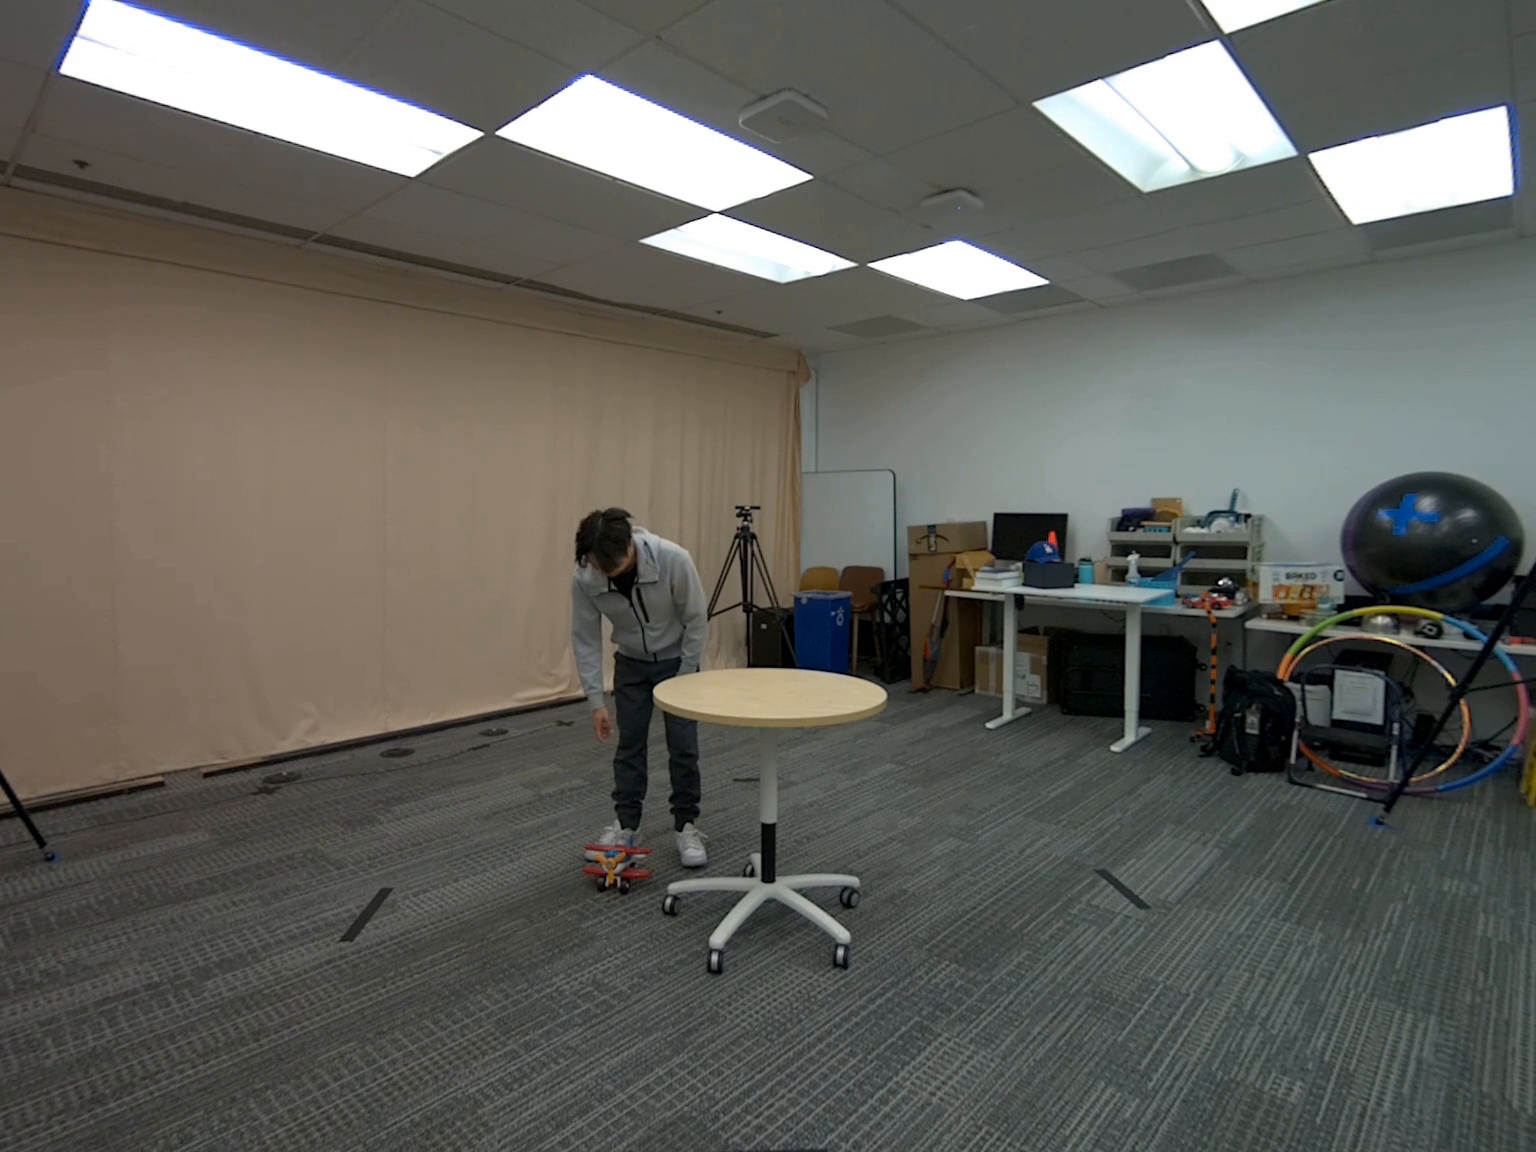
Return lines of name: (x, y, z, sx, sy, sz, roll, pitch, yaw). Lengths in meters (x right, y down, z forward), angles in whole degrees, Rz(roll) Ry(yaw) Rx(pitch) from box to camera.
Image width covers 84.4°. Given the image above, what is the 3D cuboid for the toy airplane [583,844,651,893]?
toy airplane: (-0.562, 1.063, 3.126, 0.247, 0.156, 0.264, -2, 5, -18)
